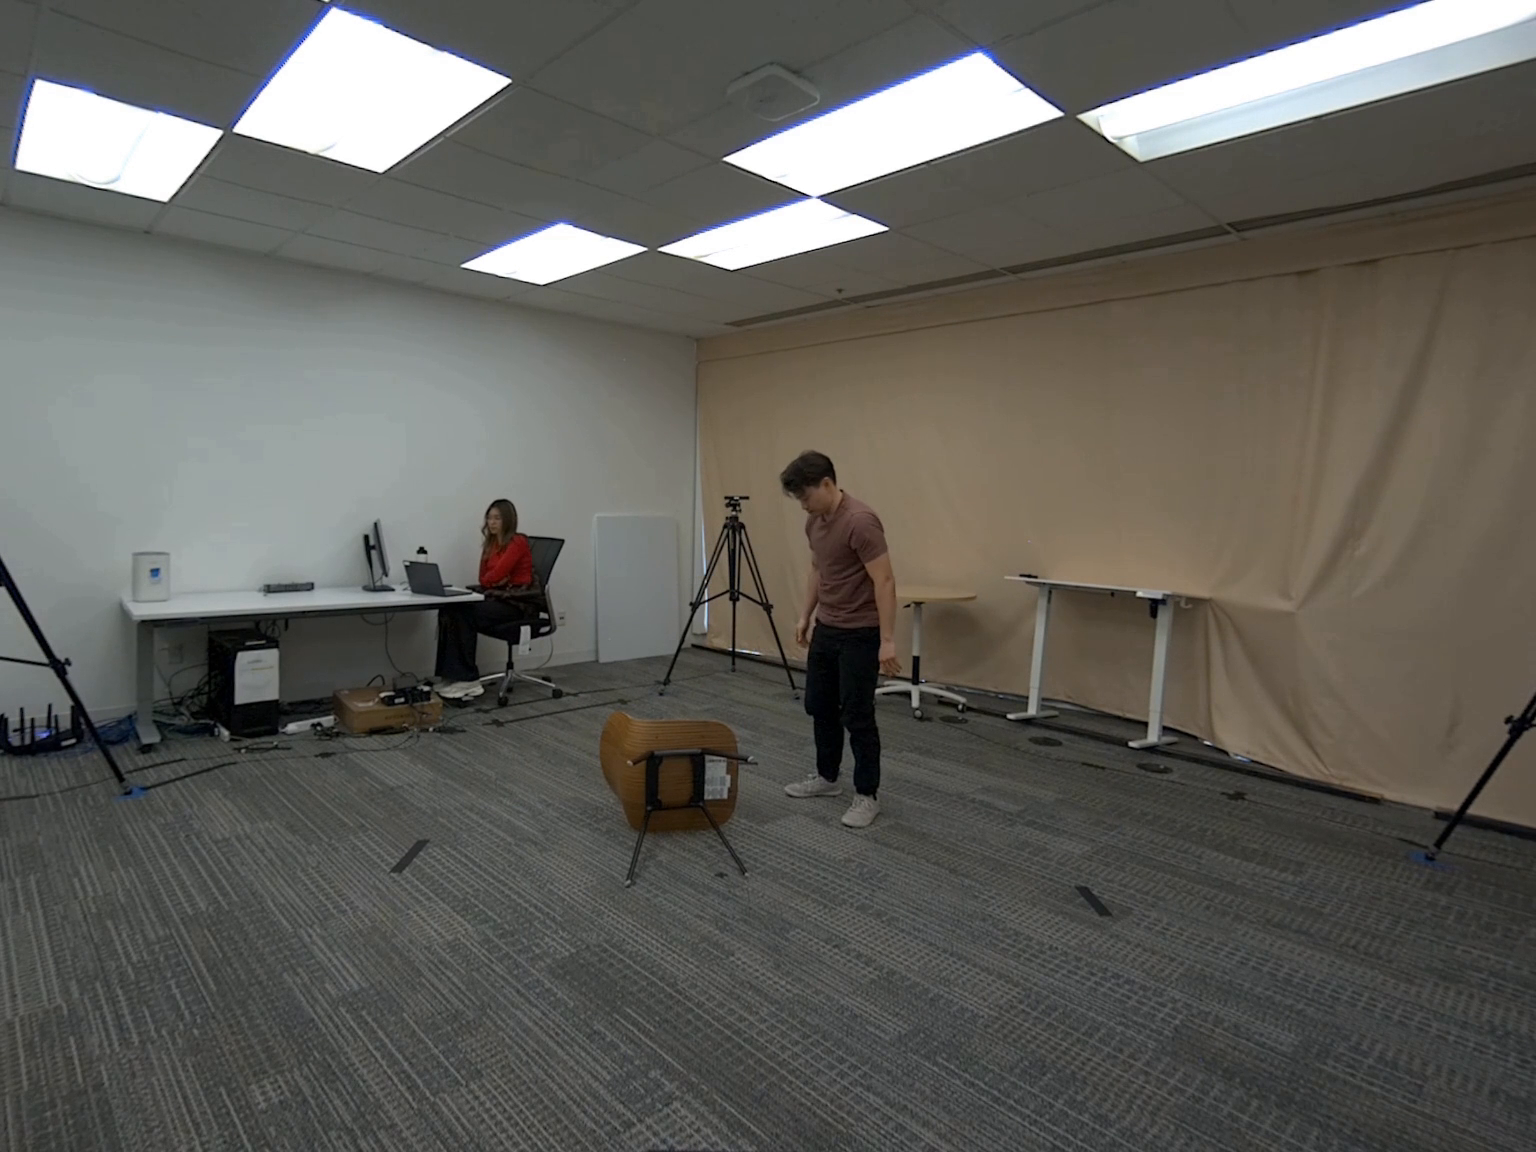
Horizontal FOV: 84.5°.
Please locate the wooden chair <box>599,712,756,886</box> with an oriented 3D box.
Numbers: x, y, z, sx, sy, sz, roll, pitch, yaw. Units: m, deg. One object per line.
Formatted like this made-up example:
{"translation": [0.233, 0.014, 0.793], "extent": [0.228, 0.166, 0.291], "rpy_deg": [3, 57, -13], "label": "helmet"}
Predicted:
{"translation": [-0.376, 0.840, 3.437], "extent": [0.516, 0.476, 0.892], "rpy_deg": [0, 5, -18], "label": "wooden chair"}
